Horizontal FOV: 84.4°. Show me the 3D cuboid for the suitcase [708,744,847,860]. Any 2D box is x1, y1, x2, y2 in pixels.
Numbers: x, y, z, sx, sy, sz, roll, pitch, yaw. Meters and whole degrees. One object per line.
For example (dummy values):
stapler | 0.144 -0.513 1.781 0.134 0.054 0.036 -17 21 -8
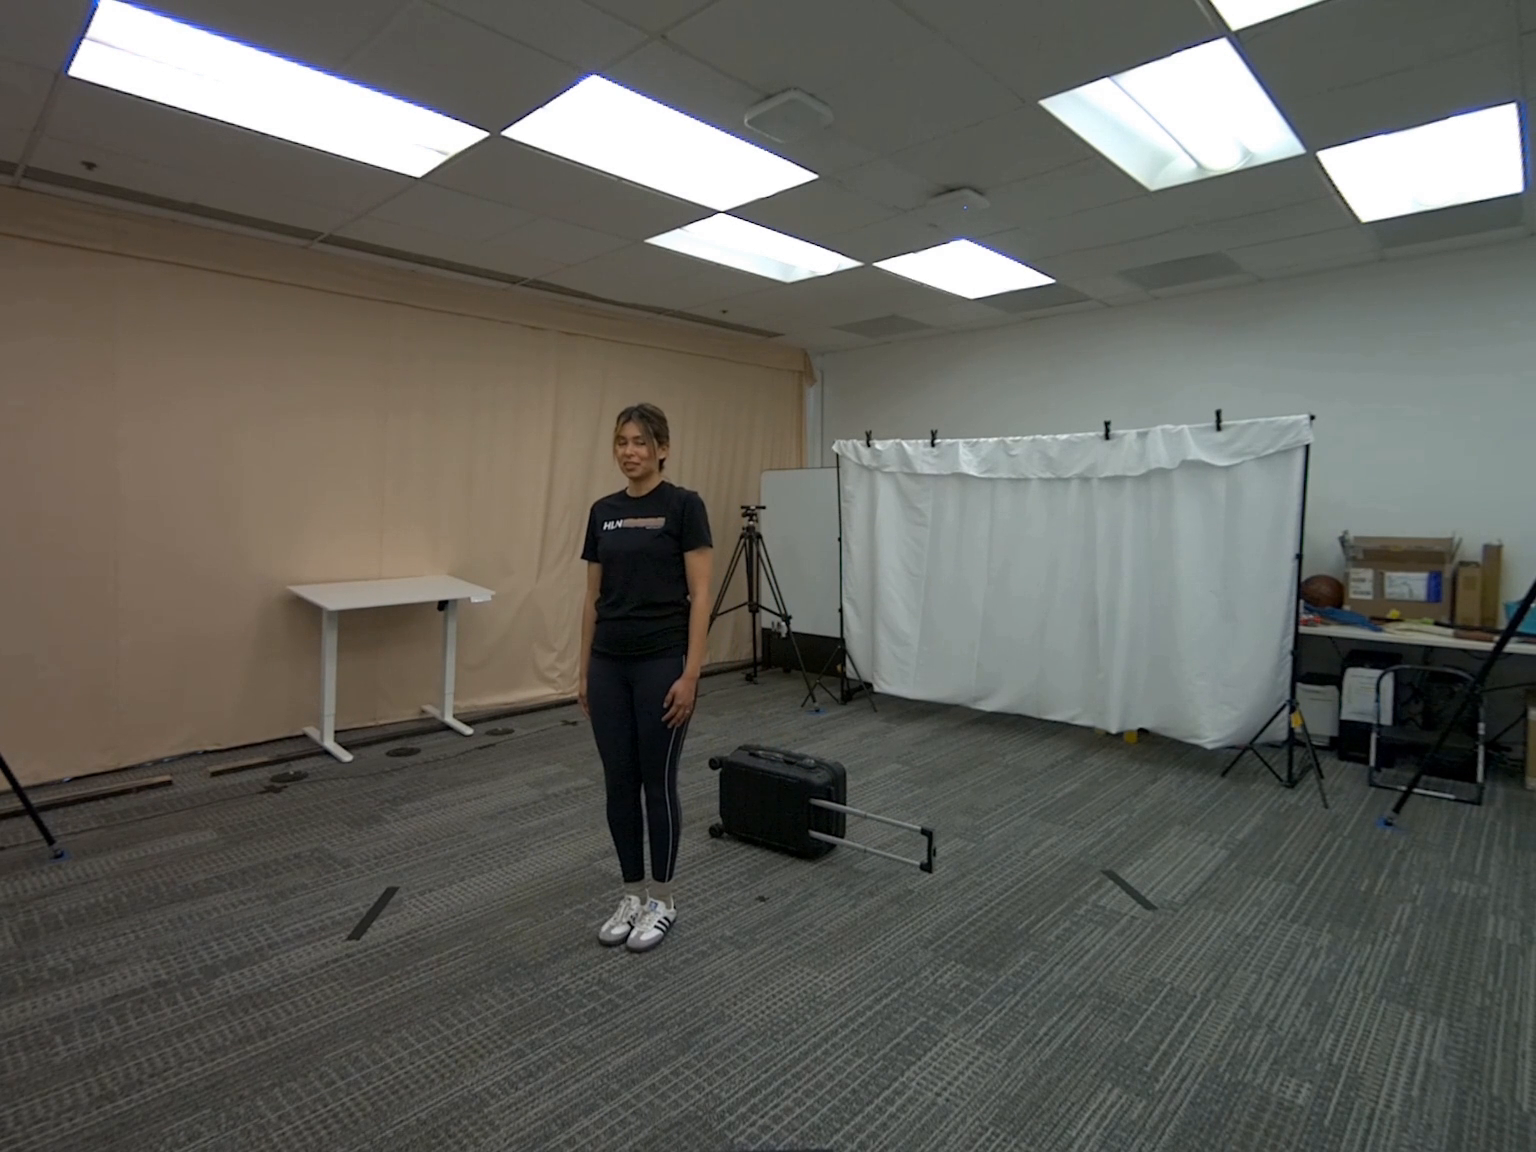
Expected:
suitcase | 0.224 0.924 3.347 1.009 0.383 0.250 3 5 34
